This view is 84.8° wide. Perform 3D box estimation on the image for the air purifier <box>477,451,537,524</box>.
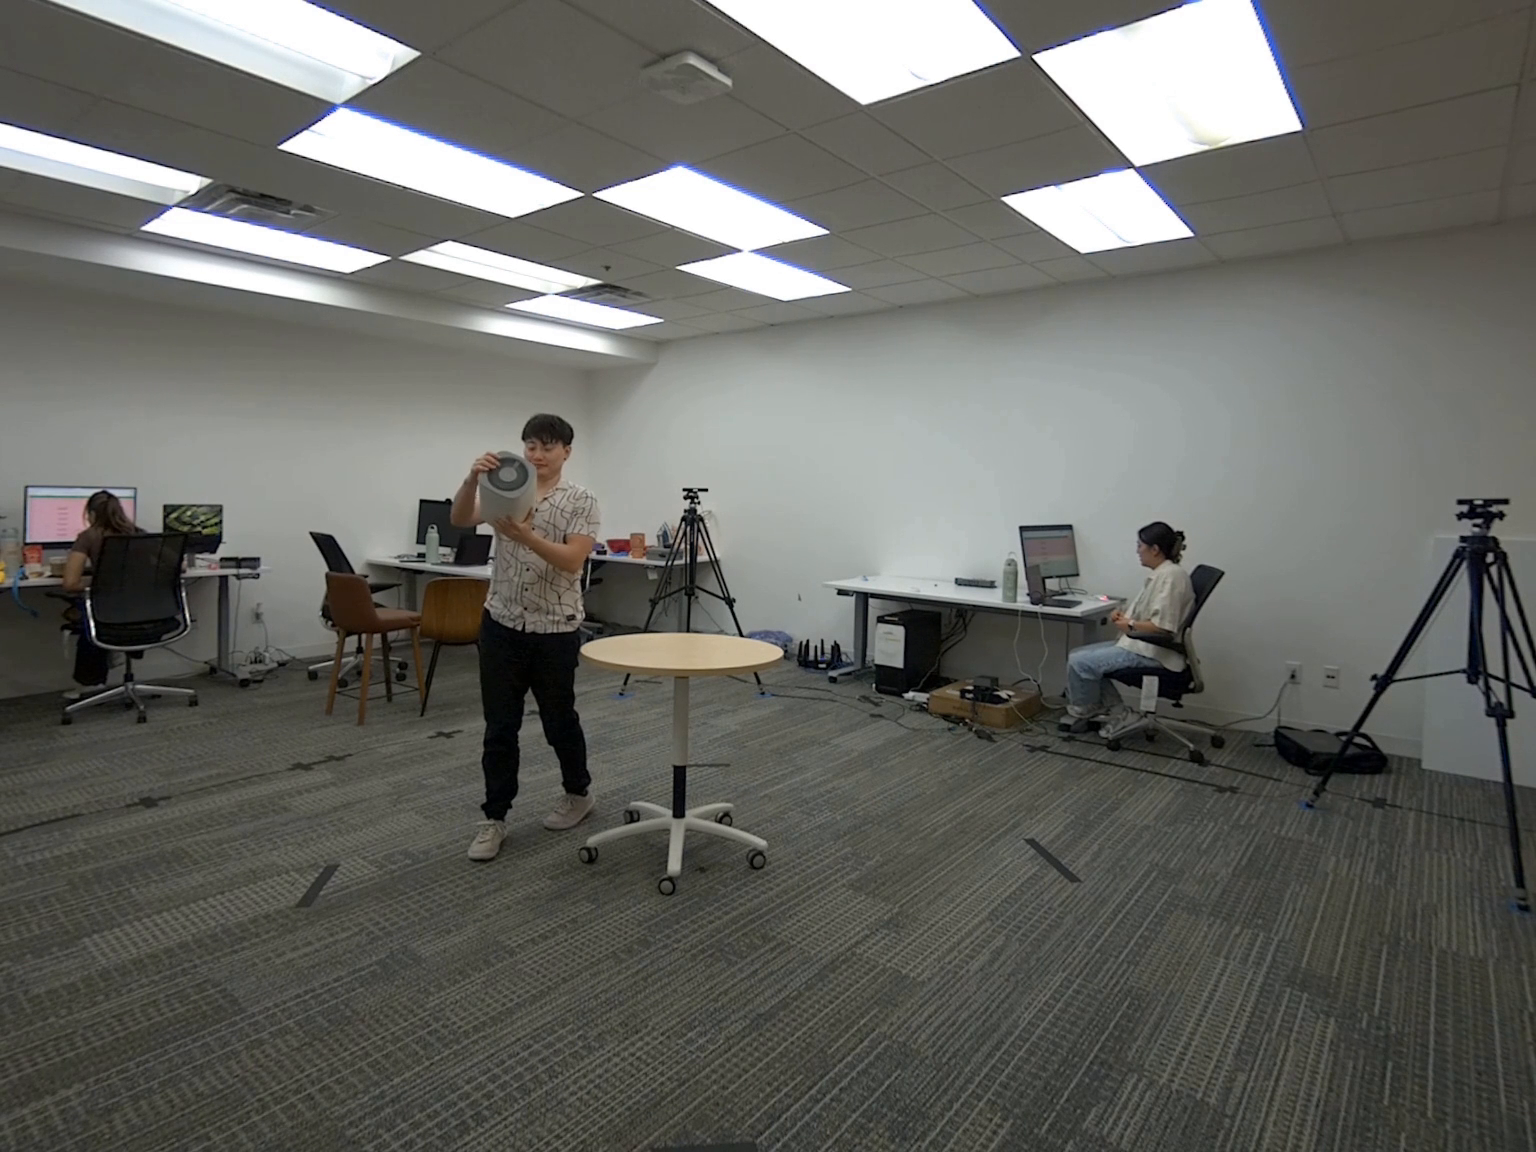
[{"bbox_3d":[-0.948,-0.294,3.019,0.171,0.173,0.263,28,-32,-1],"label":"air purifier"}]
